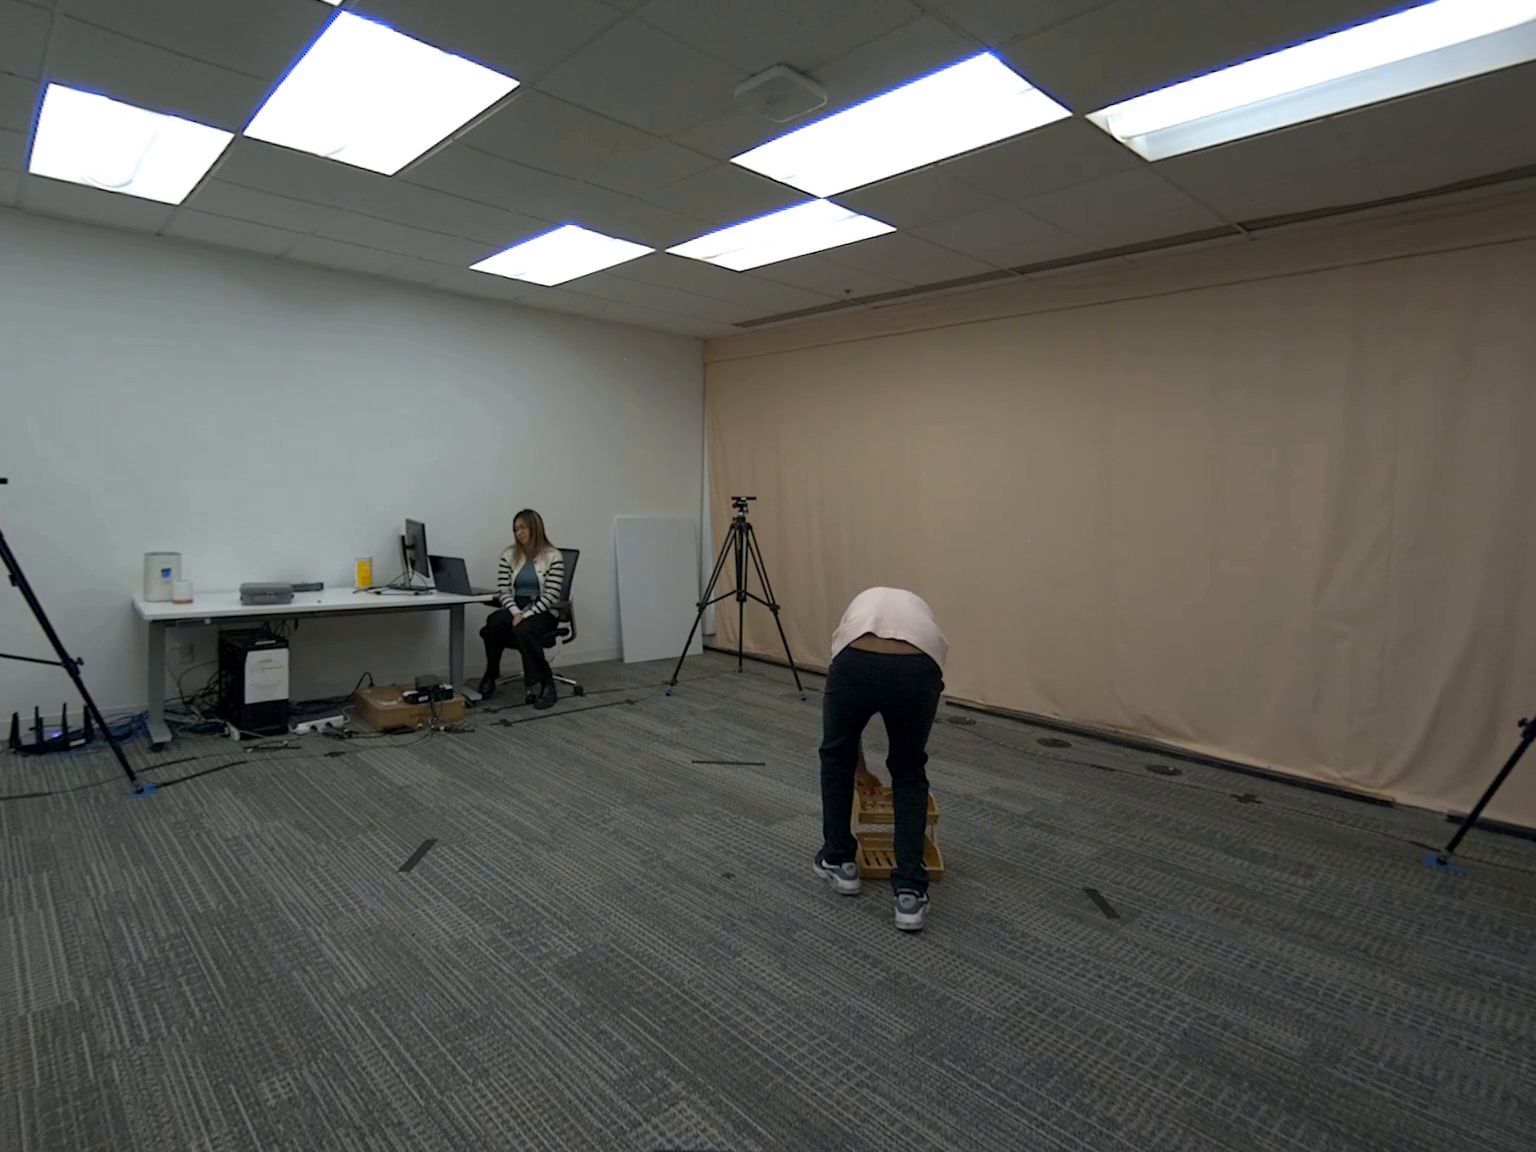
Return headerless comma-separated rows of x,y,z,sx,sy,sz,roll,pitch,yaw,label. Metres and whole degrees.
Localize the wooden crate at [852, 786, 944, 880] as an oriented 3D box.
0.485,0.976,3.224,0.324,0.273,0.303,2,1,-3,wooden crate
